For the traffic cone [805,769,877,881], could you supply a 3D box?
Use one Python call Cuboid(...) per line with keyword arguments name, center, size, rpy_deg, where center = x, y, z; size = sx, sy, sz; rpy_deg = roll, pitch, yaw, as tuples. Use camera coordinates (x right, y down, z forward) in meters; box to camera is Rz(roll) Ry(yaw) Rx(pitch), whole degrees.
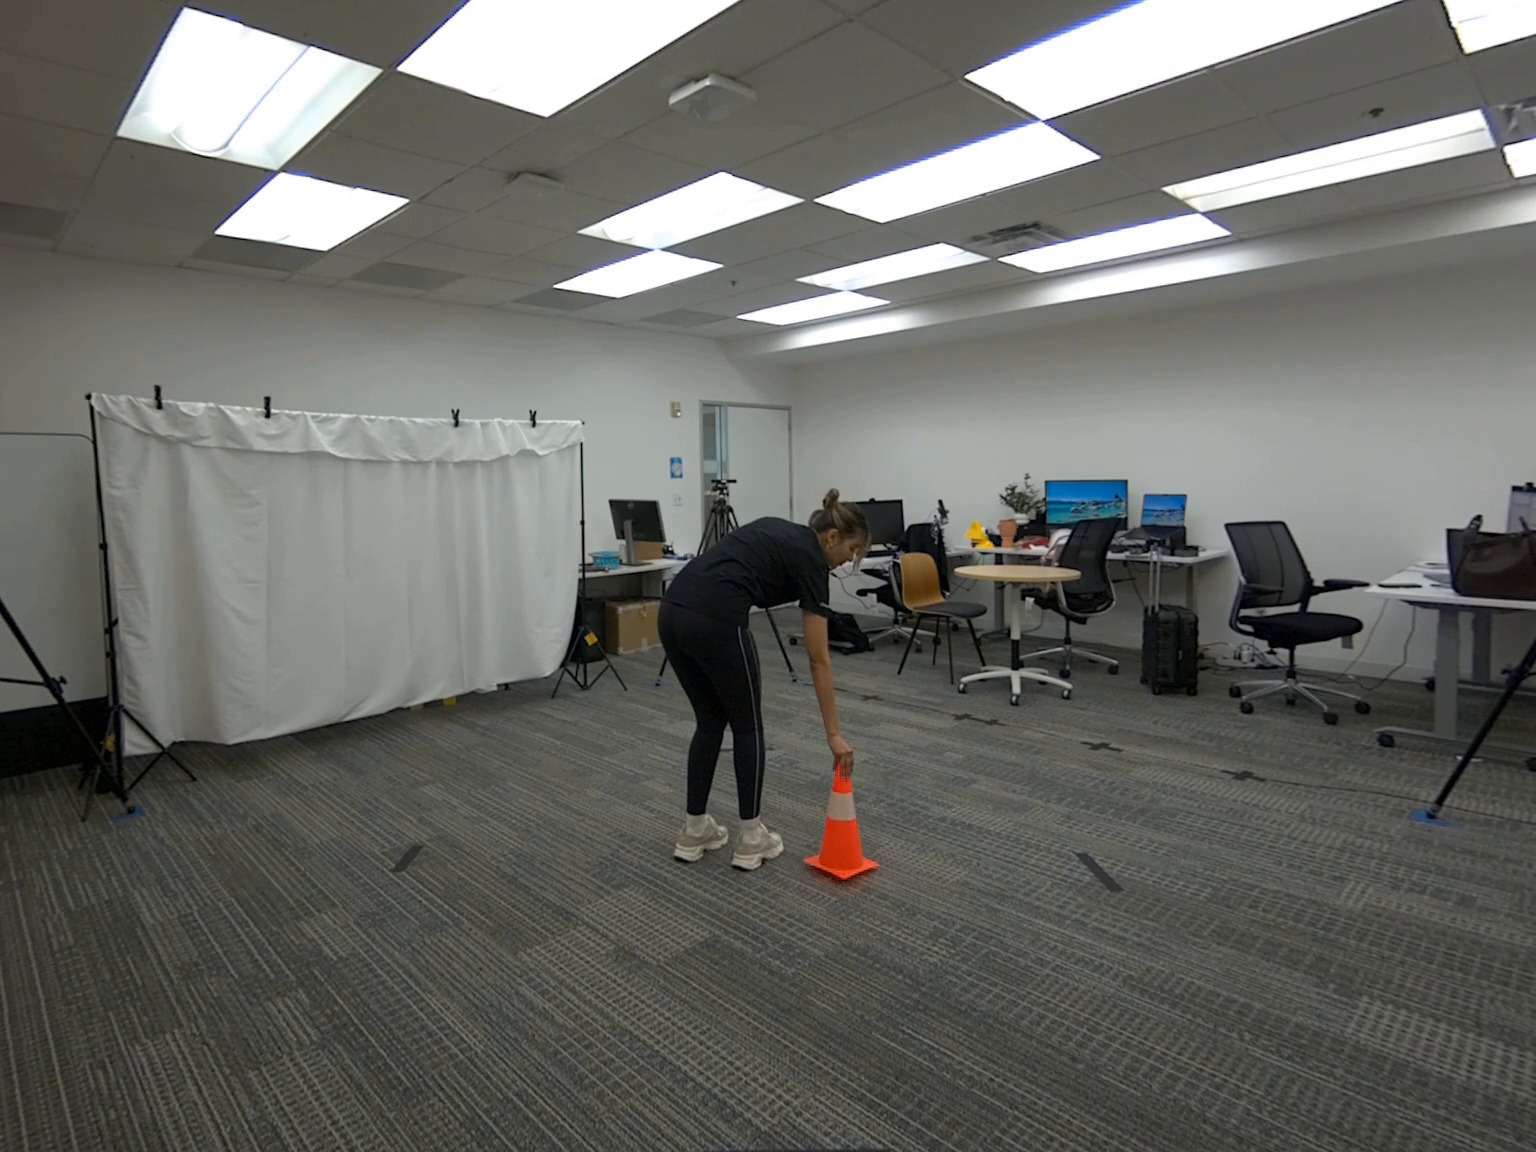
Cuboid(name="traffic cone", center=(0.265, 0.826, 3.051), size=(0.200, 0.383, 0.209), rpy_deg=(-2, 3, -34))
